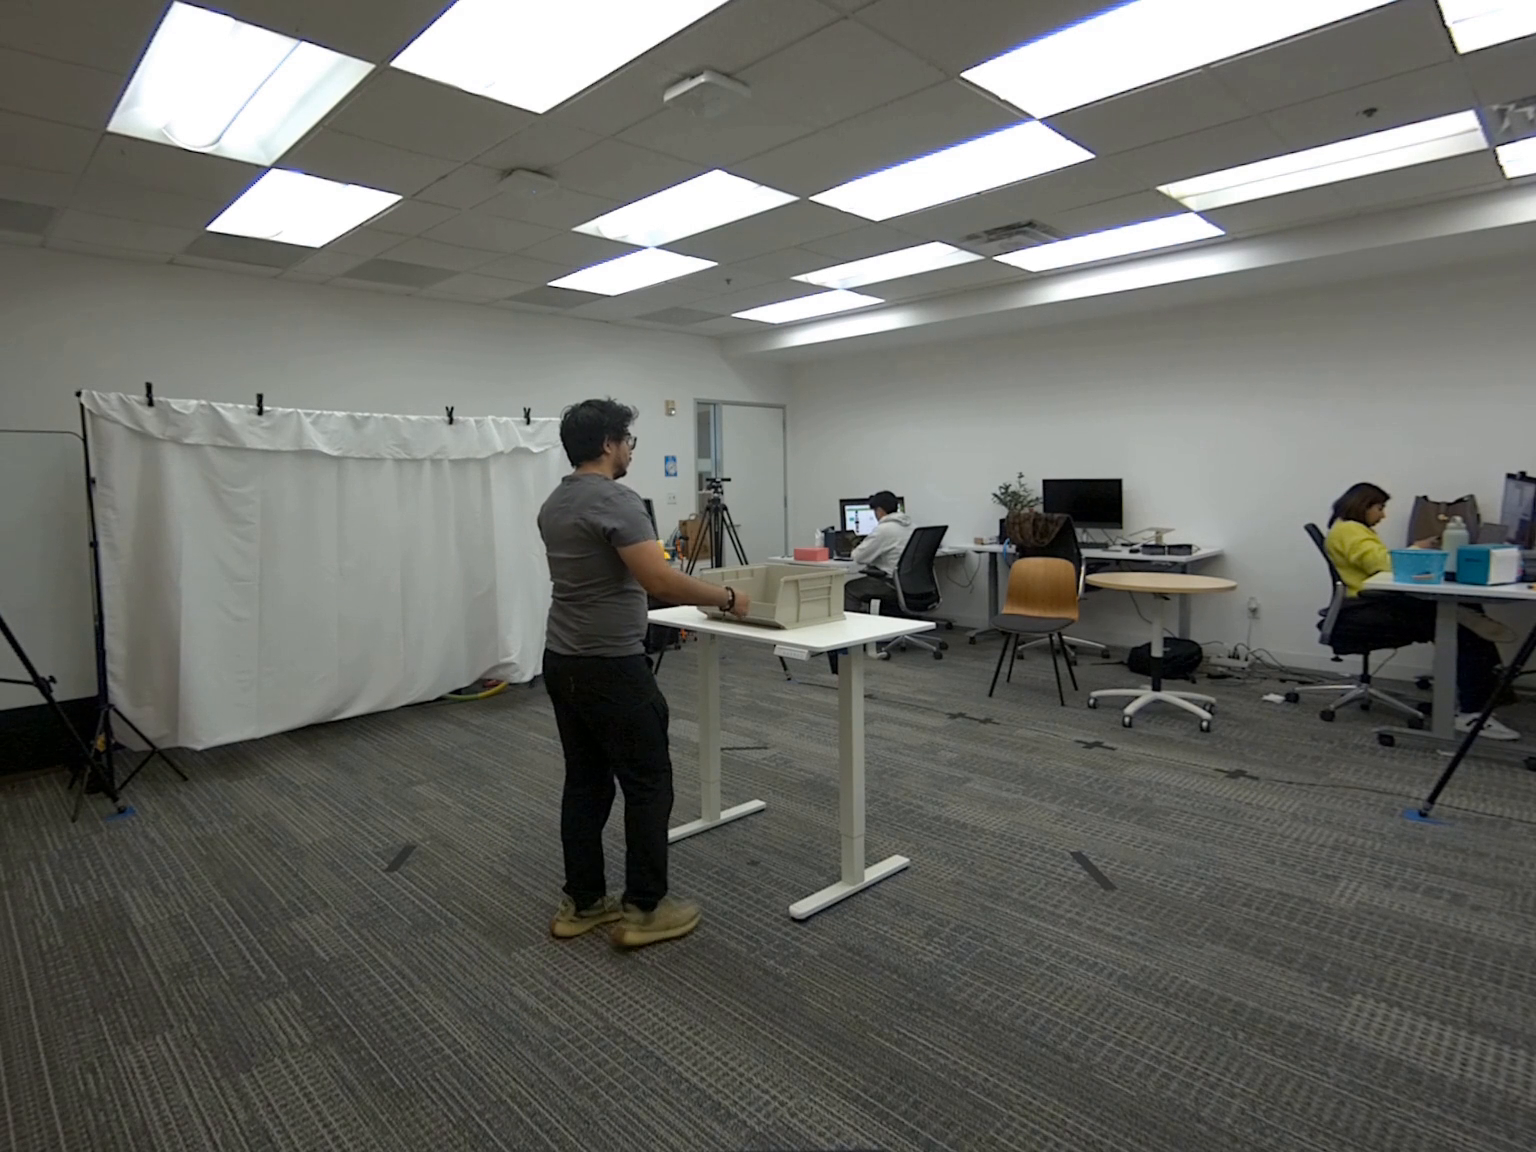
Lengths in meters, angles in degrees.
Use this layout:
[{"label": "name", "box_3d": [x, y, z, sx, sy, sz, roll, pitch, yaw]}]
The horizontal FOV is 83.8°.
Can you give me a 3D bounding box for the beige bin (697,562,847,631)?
[{"label": "beige bin", "box_3d": [0.014, 0.070, 3.101, 0.367, 0.188, 0.435, -5, 6, -43]}]
